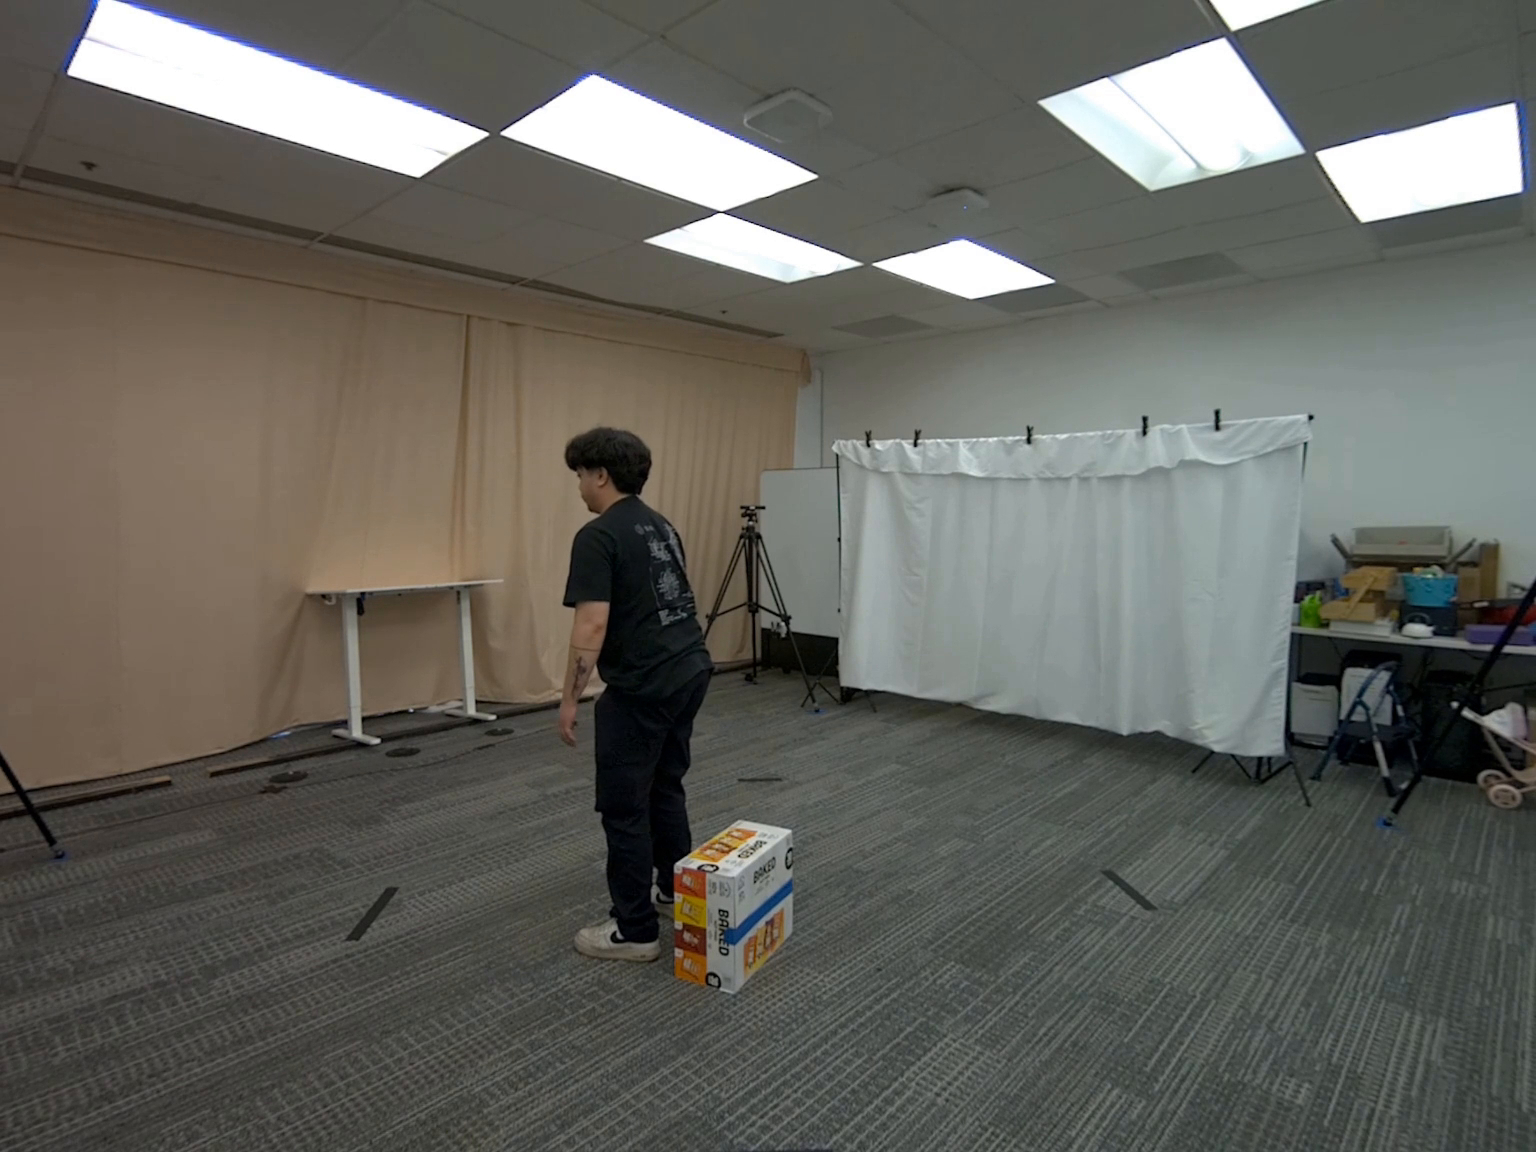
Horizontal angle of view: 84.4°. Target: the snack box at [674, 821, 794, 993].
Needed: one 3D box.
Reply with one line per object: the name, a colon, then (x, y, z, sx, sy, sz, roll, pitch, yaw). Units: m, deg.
snack box: (-0.096, 1.004, 2.612, 0.211, 0.340, 0.395, 1, 4, 27)
